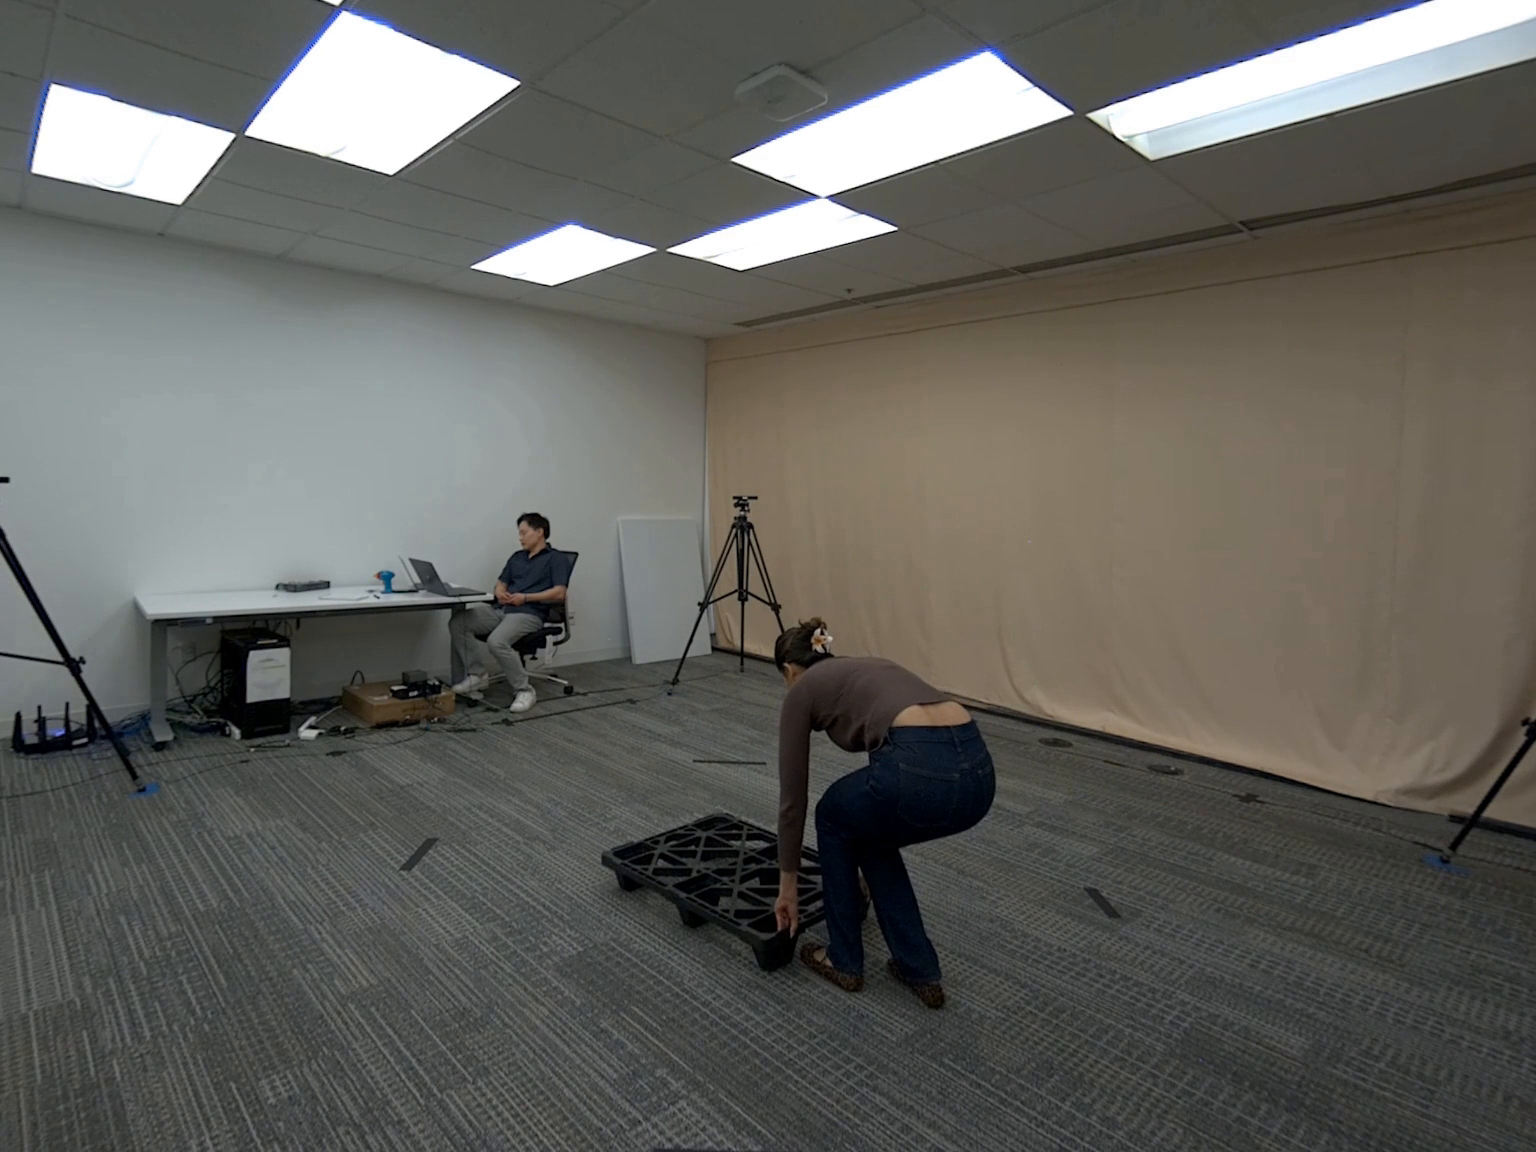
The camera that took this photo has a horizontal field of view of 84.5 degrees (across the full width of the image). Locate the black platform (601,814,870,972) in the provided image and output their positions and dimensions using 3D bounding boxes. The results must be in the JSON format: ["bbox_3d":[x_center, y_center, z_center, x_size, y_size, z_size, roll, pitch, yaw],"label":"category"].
[{"bbox_3d":[-0.104,1.056,2.880,0.826,0.143,0.592,6,8,44],"label":"black platform"}]
